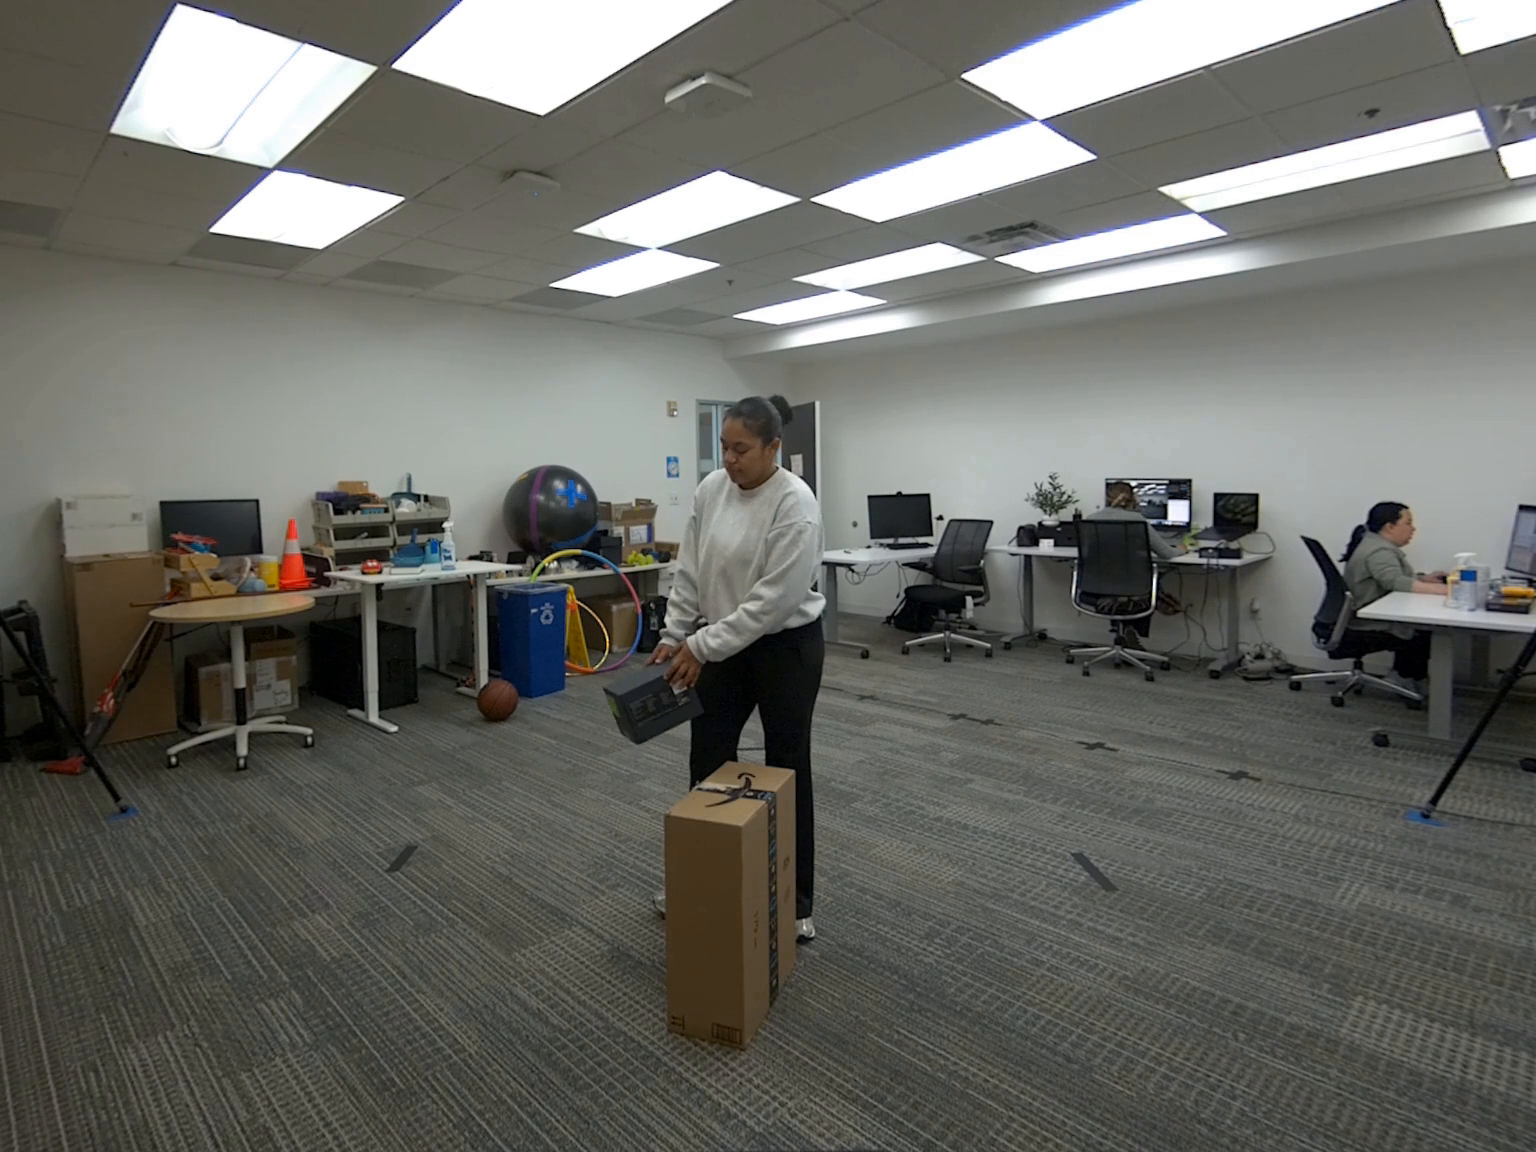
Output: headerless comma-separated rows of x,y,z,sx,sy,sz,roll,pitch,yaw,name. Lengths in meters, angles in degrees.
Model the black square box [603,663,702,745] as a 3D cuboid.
-0.346,0.375,2.544,0.214,0.155,0.232,-22,7,-21,black square box
